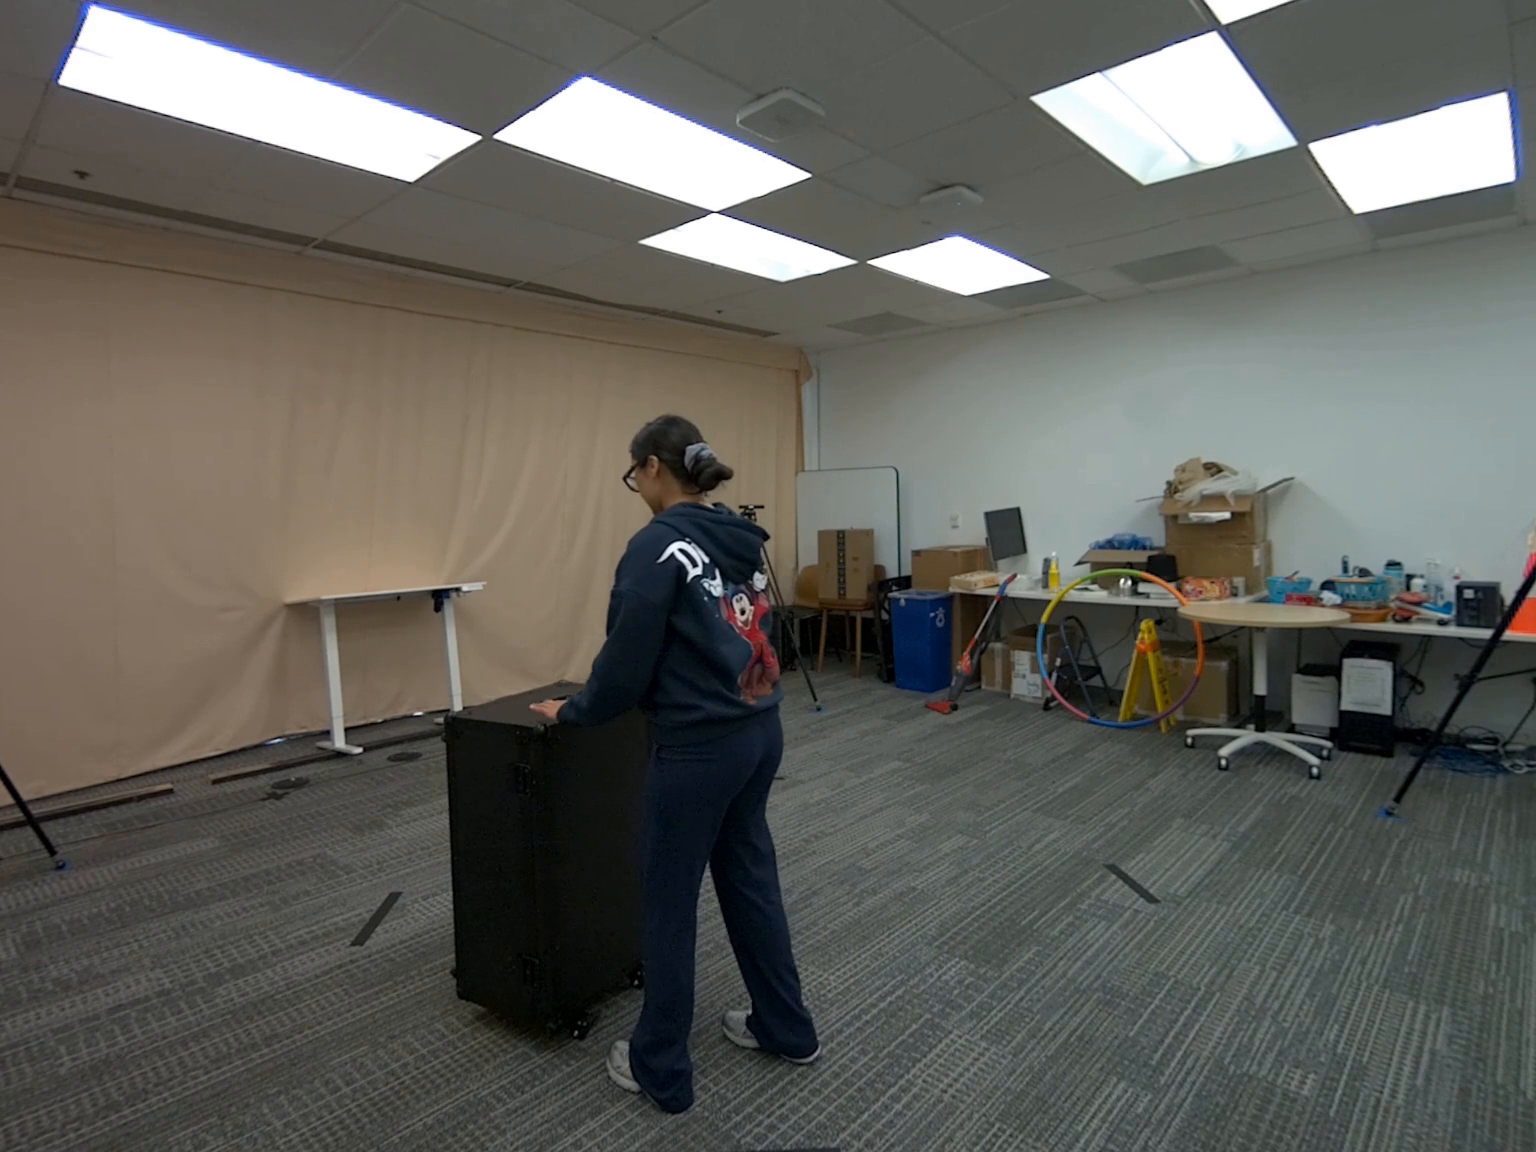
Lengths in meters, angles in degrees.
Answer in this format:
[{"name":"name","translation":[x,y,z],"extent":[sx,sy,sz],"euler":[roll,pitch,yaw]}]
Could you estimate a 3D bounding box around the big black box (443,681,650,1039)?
[{"name":"big black box","translation":[-0.605,0.777,2.394],"extent":[0.407,0.860,0.507],"euler":[-1,2,30]}]
